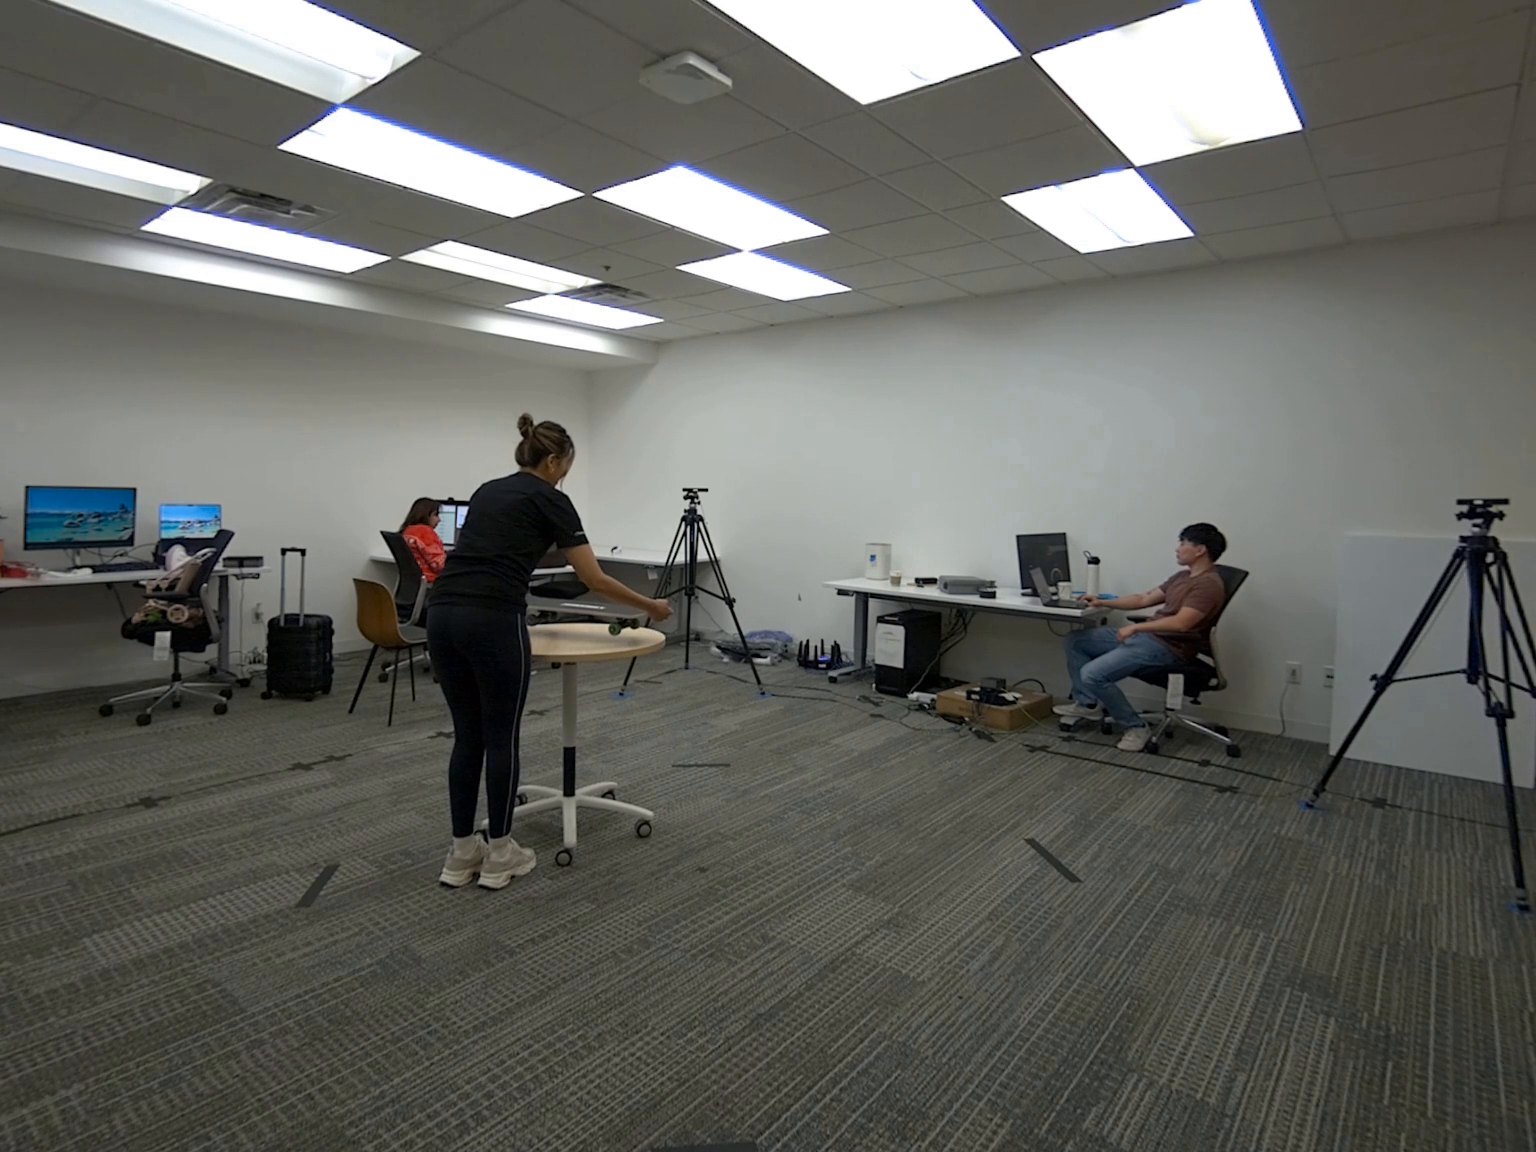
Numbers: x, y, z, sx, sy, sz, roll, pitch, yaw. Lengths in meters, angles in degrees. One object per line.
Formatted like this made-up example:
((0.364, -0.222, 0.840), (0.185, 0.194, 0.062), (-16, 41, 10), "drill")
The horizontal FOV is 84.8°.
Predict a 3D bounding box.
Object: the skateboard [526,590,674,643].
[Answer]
((-0.780, 0.155, 3.460), (0.807, 0.110, 0.189), (5, 7, 26), "skateboard")
